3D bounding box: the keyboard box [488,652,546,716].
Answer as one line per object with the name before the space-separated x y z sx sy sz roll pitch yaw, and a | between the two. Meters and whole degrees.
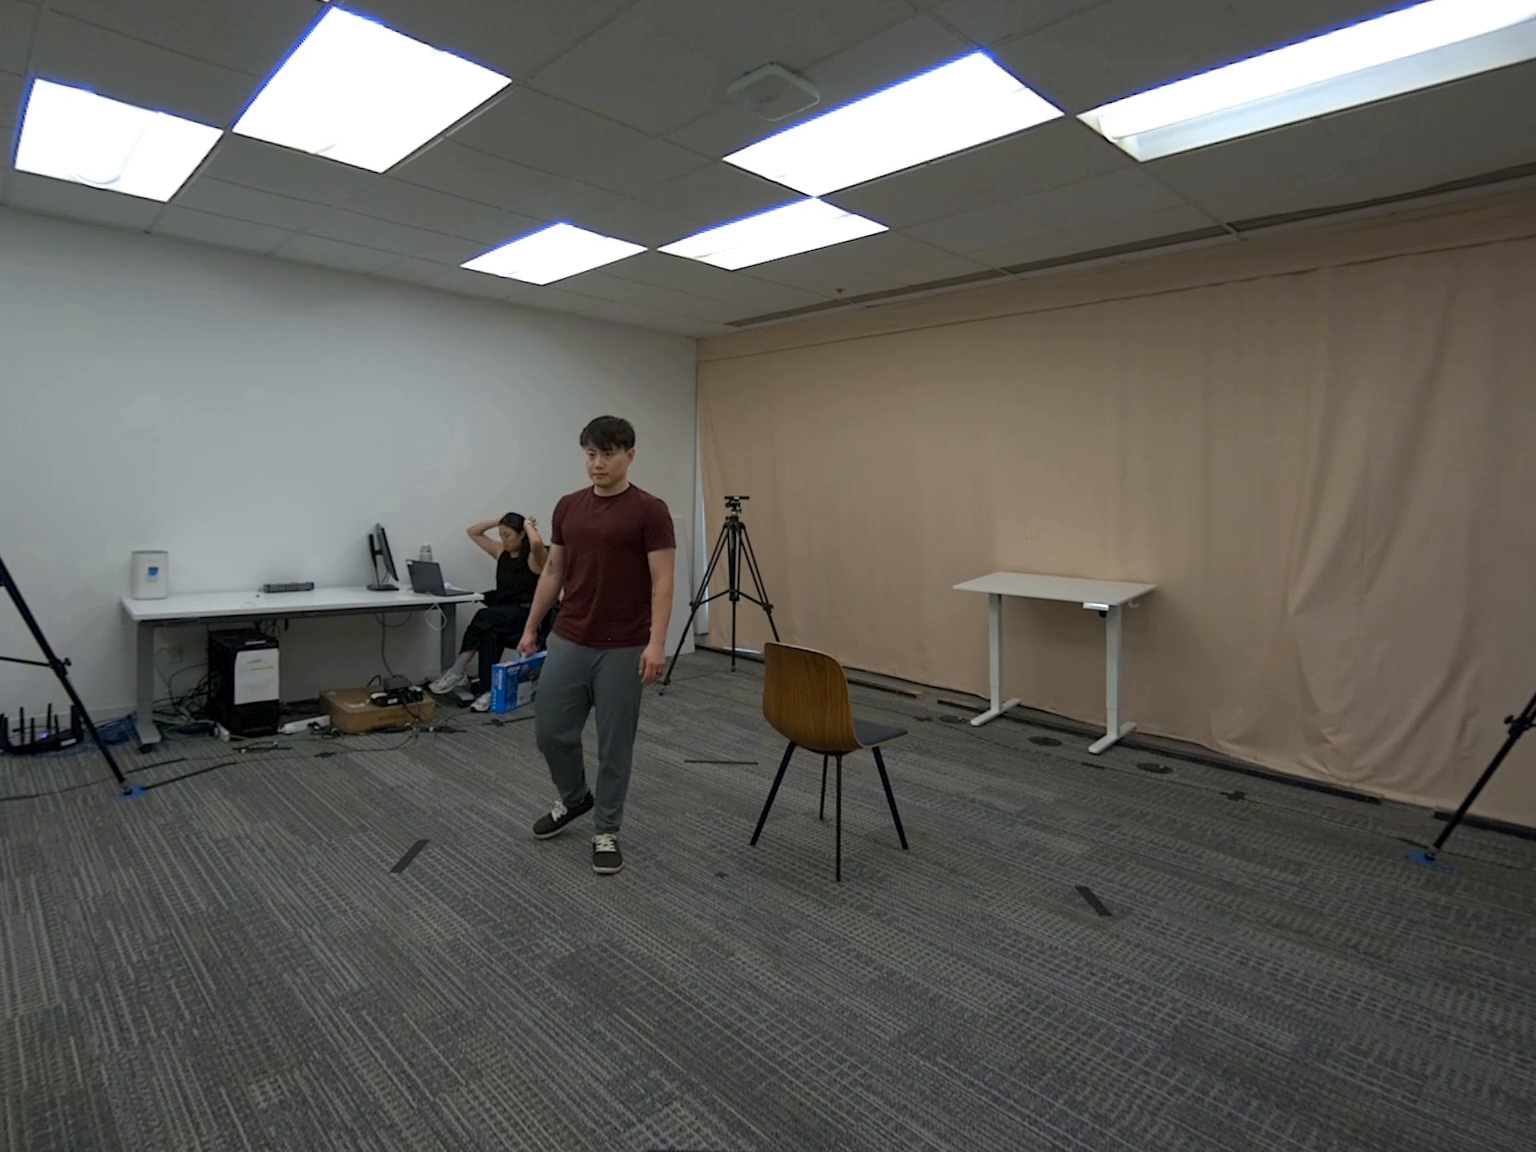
keyboard box | -0.933 0.405 3.277 0.060 0.175 0.432 3 4 14
